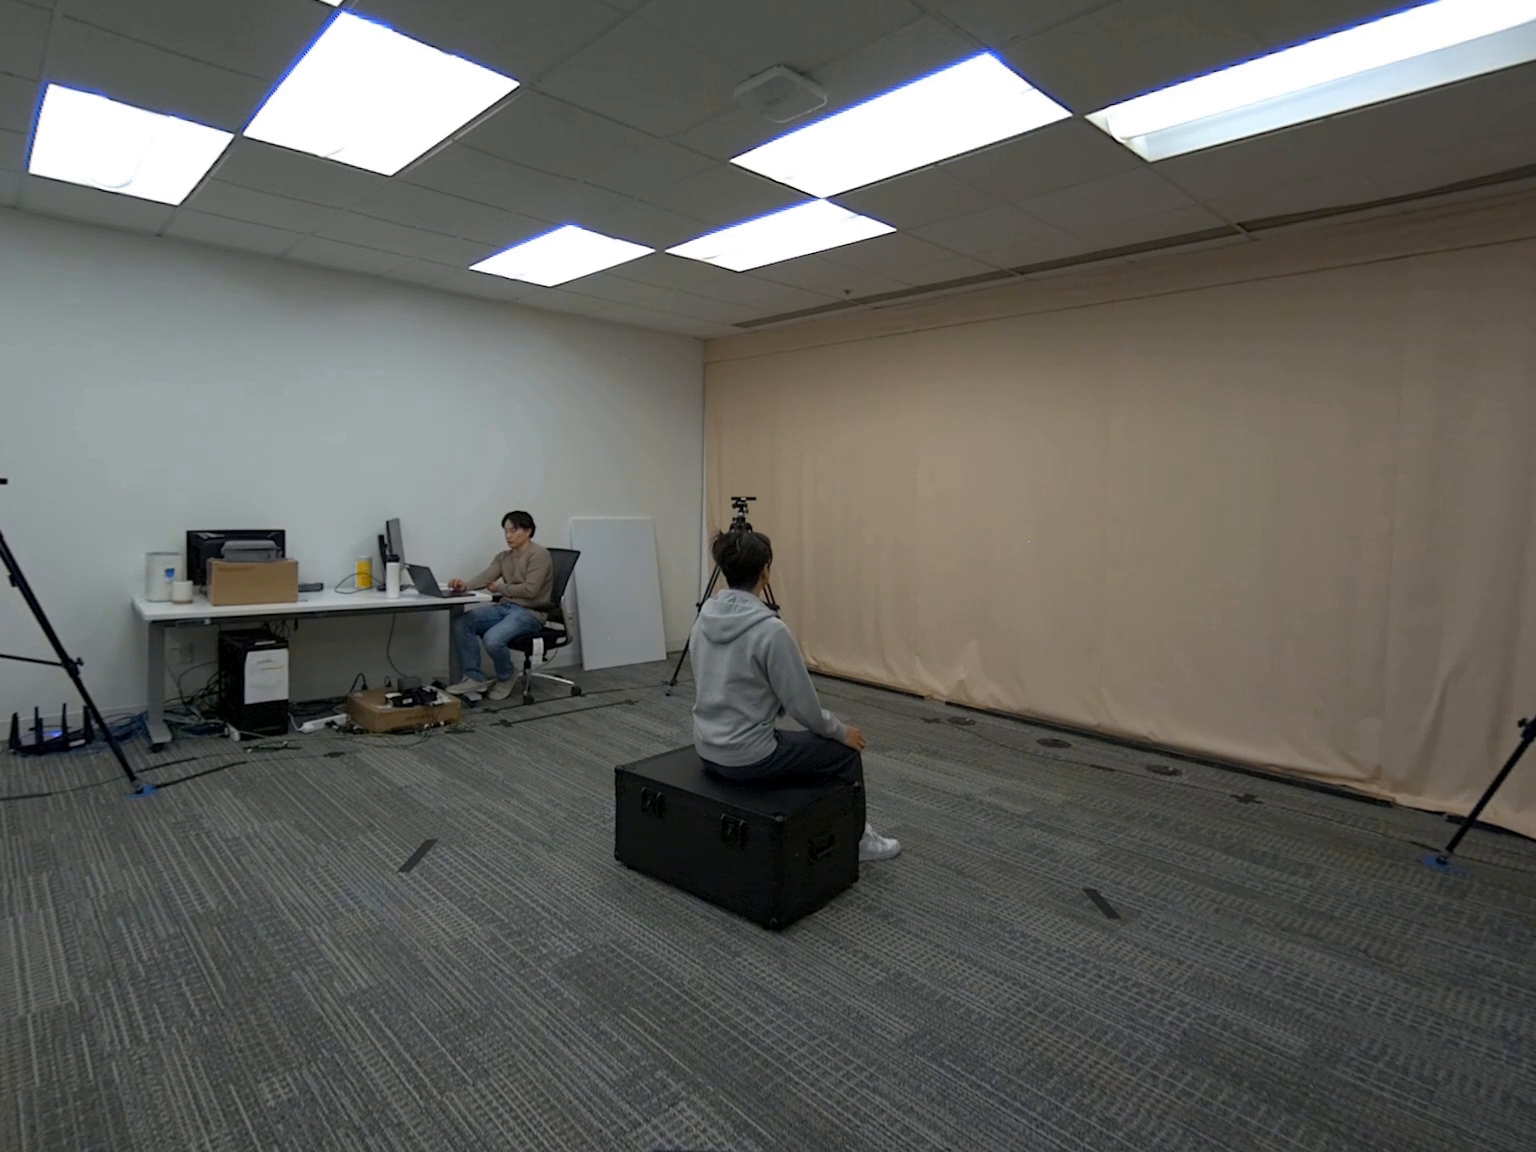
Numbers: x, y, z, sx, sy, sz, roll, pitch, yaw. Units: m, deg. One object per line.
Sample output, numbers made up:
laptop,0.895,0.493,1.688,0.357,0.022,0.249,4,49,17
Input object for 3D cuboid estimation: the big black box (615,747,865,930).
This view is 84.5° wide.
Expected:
big black box,-0.111,0.927,3.071,0.883,0.395,0.510,5,6,40
